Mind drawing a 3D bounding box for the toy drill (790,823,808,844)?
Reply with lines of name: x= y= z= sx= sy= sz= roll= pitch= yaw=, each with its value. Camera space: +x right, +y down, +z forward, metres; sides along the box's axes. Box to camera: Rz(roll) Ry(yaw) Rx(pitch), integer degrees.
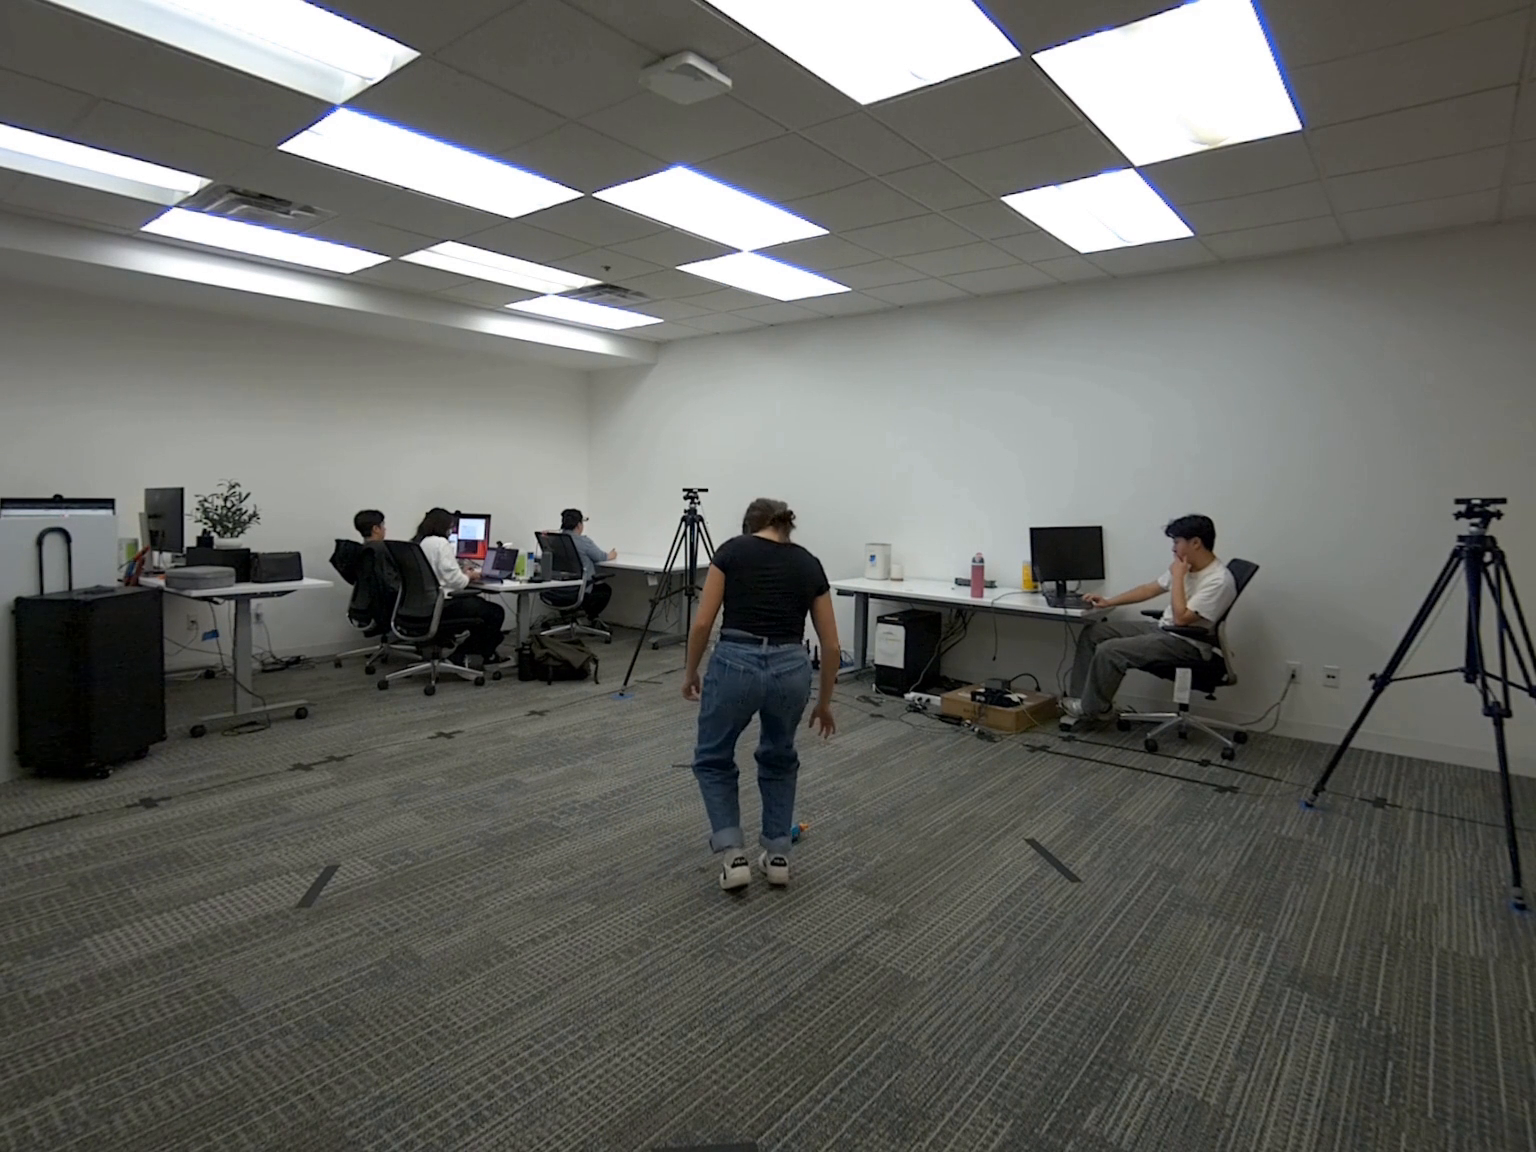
toy drill: x=0.087 y=1.004 z=3.426 sx=0.165 sy=0.061 sz=0.151 roll=-10 pitch=9 yaw=-38
